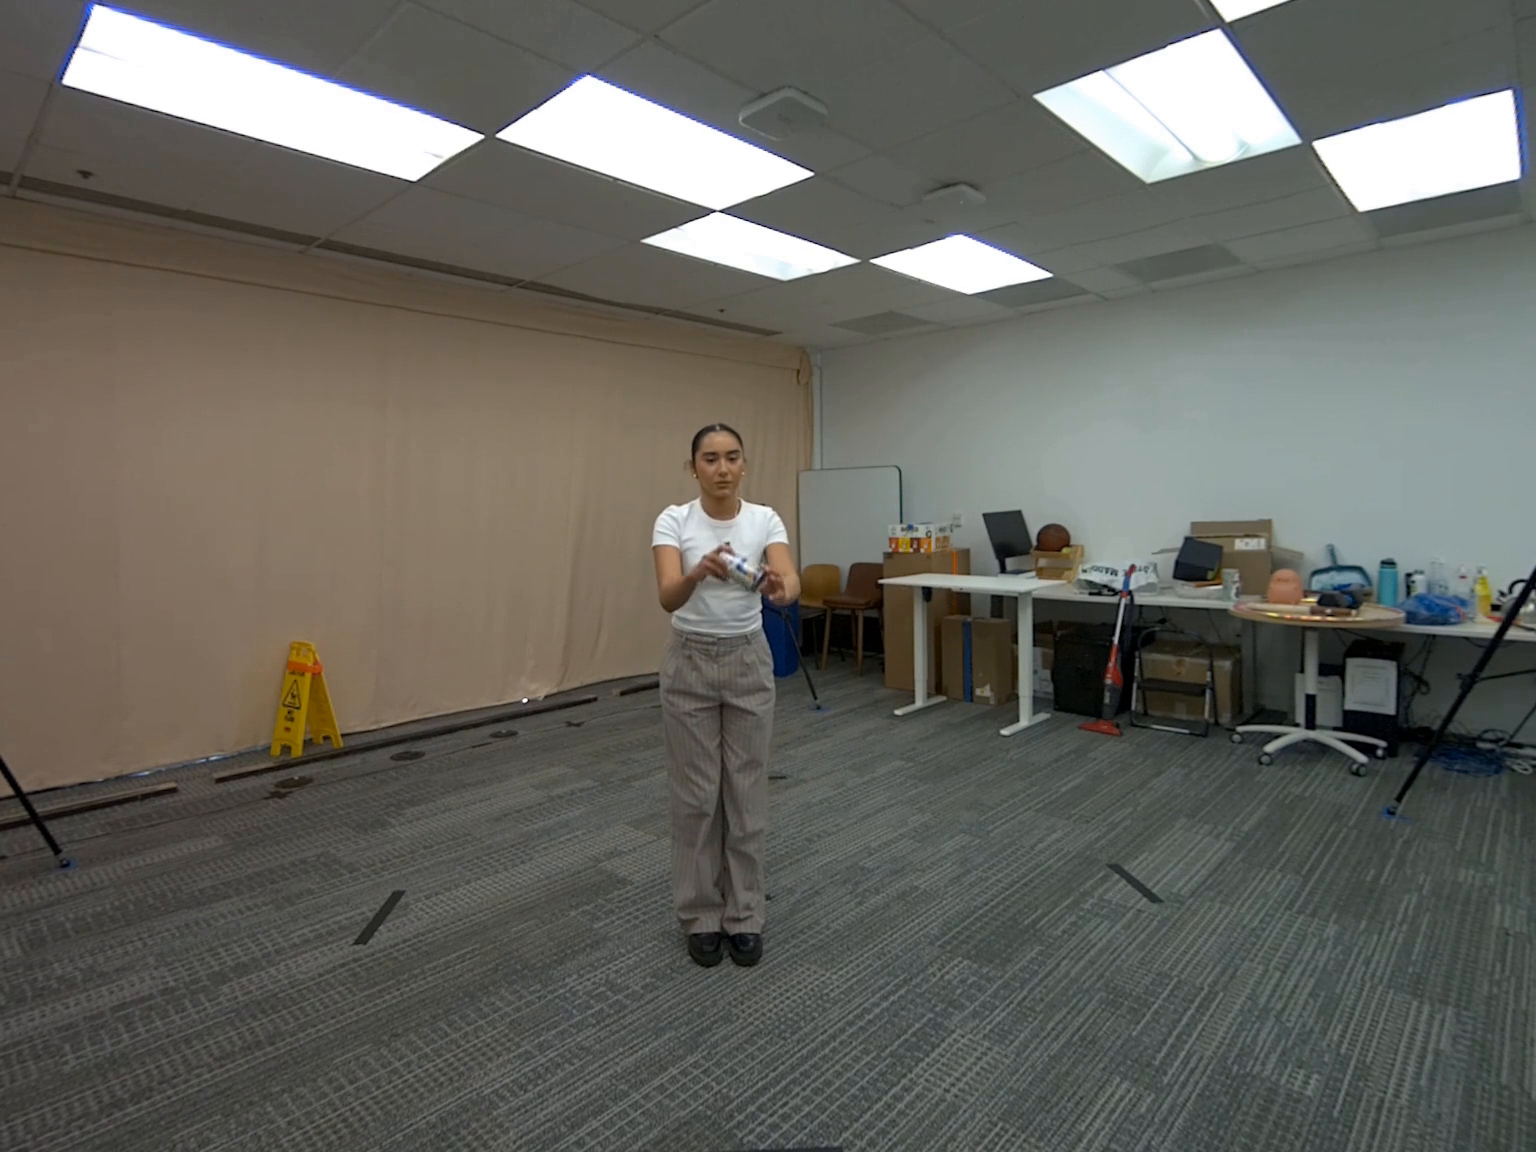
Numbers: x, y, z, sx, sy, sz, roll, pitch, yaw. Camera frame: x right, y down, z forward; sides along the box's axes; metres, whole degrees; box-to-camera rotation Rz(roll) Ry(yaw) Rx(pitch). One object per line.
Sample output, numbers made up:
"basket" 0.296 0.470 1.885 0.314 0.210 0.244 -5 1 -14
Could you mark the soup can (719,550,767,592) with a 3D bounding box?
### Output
"soup can" -0.066 0.013 2.169 0.065 0.066 0.126 -4 29 -38
